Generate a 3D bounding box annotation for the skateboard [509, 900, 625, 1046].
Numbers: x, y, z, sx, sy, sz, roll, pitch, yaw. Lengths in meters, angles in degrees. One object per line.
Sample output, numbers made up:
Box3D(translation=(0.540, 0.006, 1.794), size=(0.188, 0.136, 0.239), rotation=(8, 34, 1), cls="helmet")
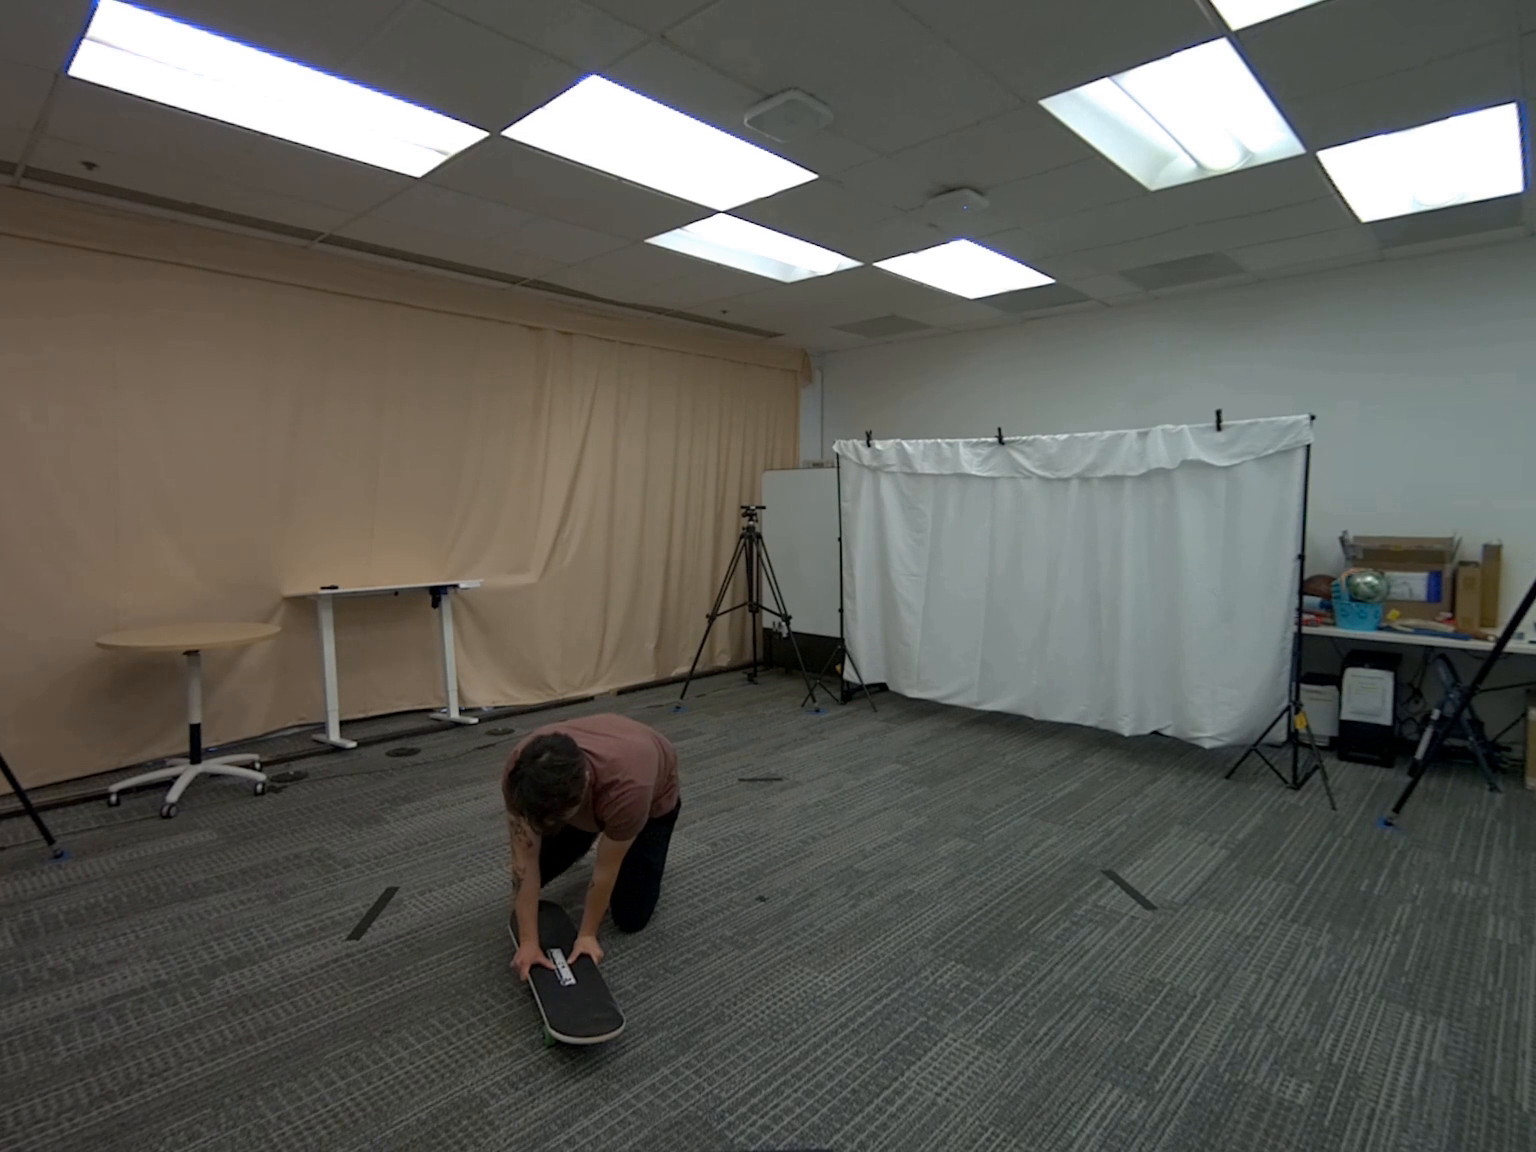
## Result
Box3D(translation=(-0.590, 1.142, 2.396), size=(0.189, 0.110, 0.805), rotation=(1, 3, -25), cls="skateboard")
